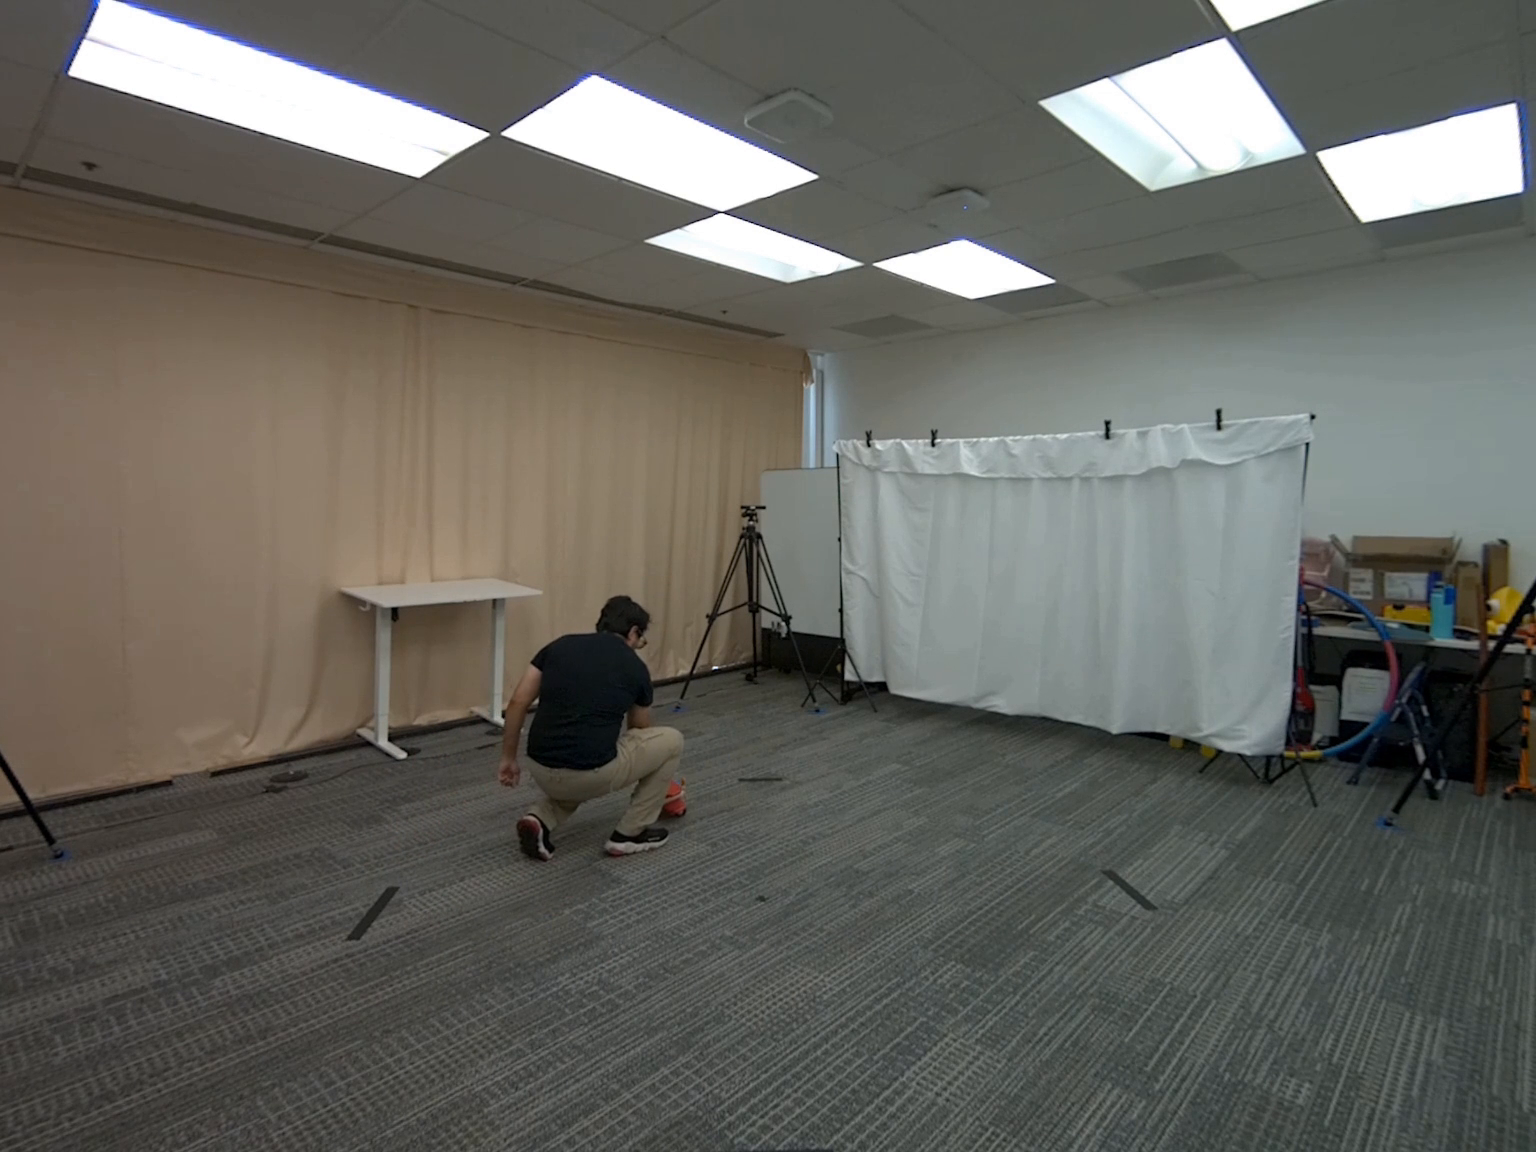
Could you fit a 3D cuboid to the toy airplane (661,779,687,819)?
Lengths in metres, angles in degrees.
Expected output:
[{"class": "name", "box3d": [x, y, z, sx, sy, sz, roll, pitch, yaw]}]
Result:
[{"class": "toy airplane", "box3d": [-0.485, 1.008, 3.776, 0.259, 0.156, 0.252, 3, 5, 34]}]
